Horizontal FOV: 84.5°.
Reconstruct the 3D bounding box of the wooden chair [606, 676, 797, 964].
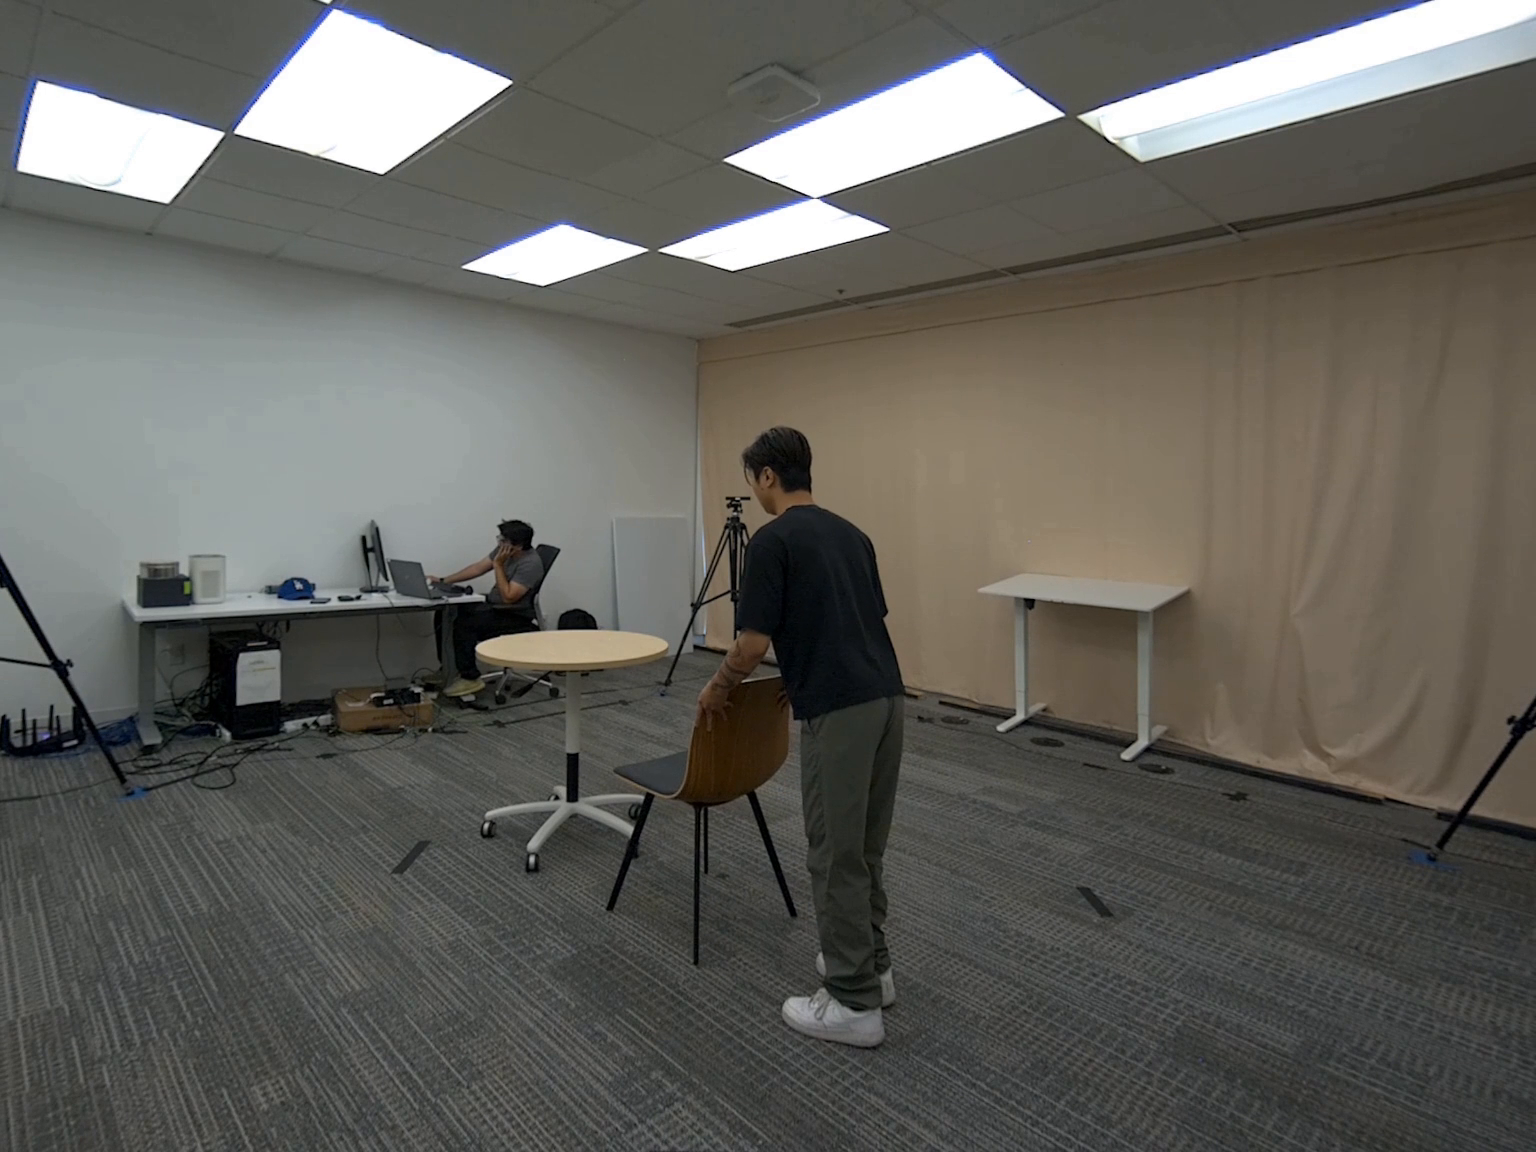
[{"bbox_3d":[-0.223,0.706,2.792,0.467,0.873,0.537,-3,9,-44],"label":"wooden chair"}]
